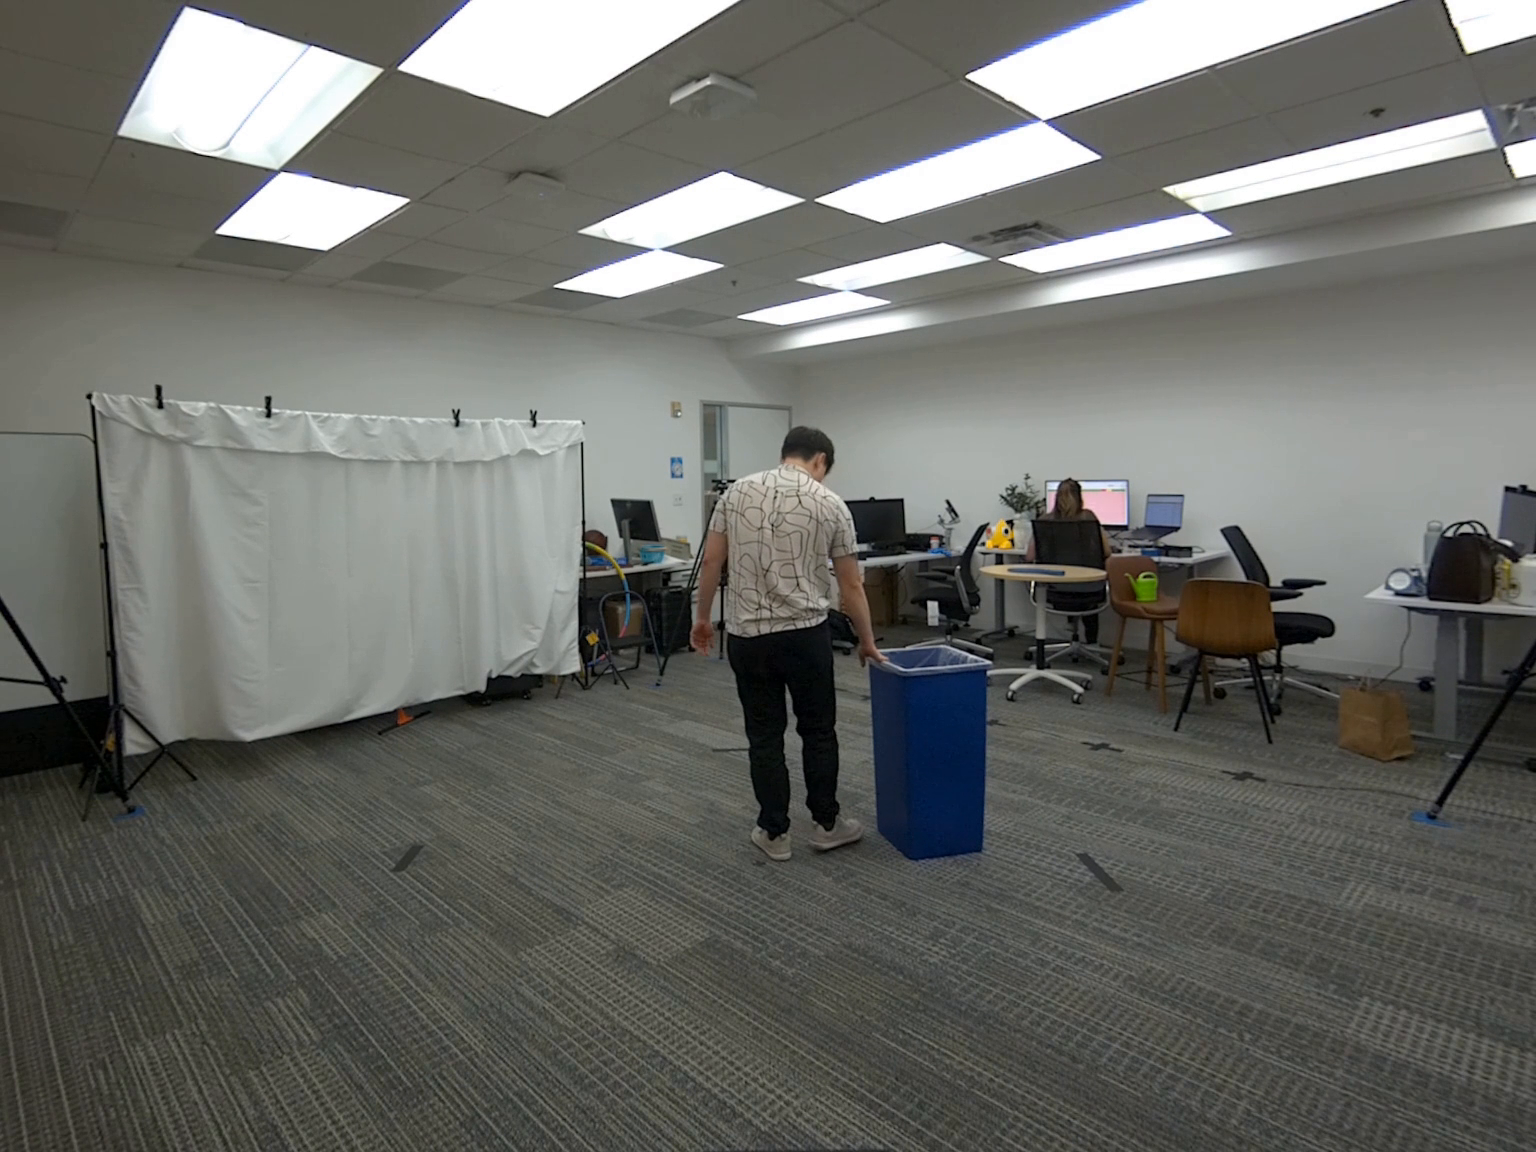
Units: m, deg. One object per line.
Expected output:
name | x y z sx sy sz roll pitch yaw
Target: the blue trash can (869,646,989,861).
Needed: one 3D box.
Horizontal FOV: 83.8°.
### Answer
blue trash can | 0.606 0.660 3.262 0.369 0.711 0.385 -2 3 -16
